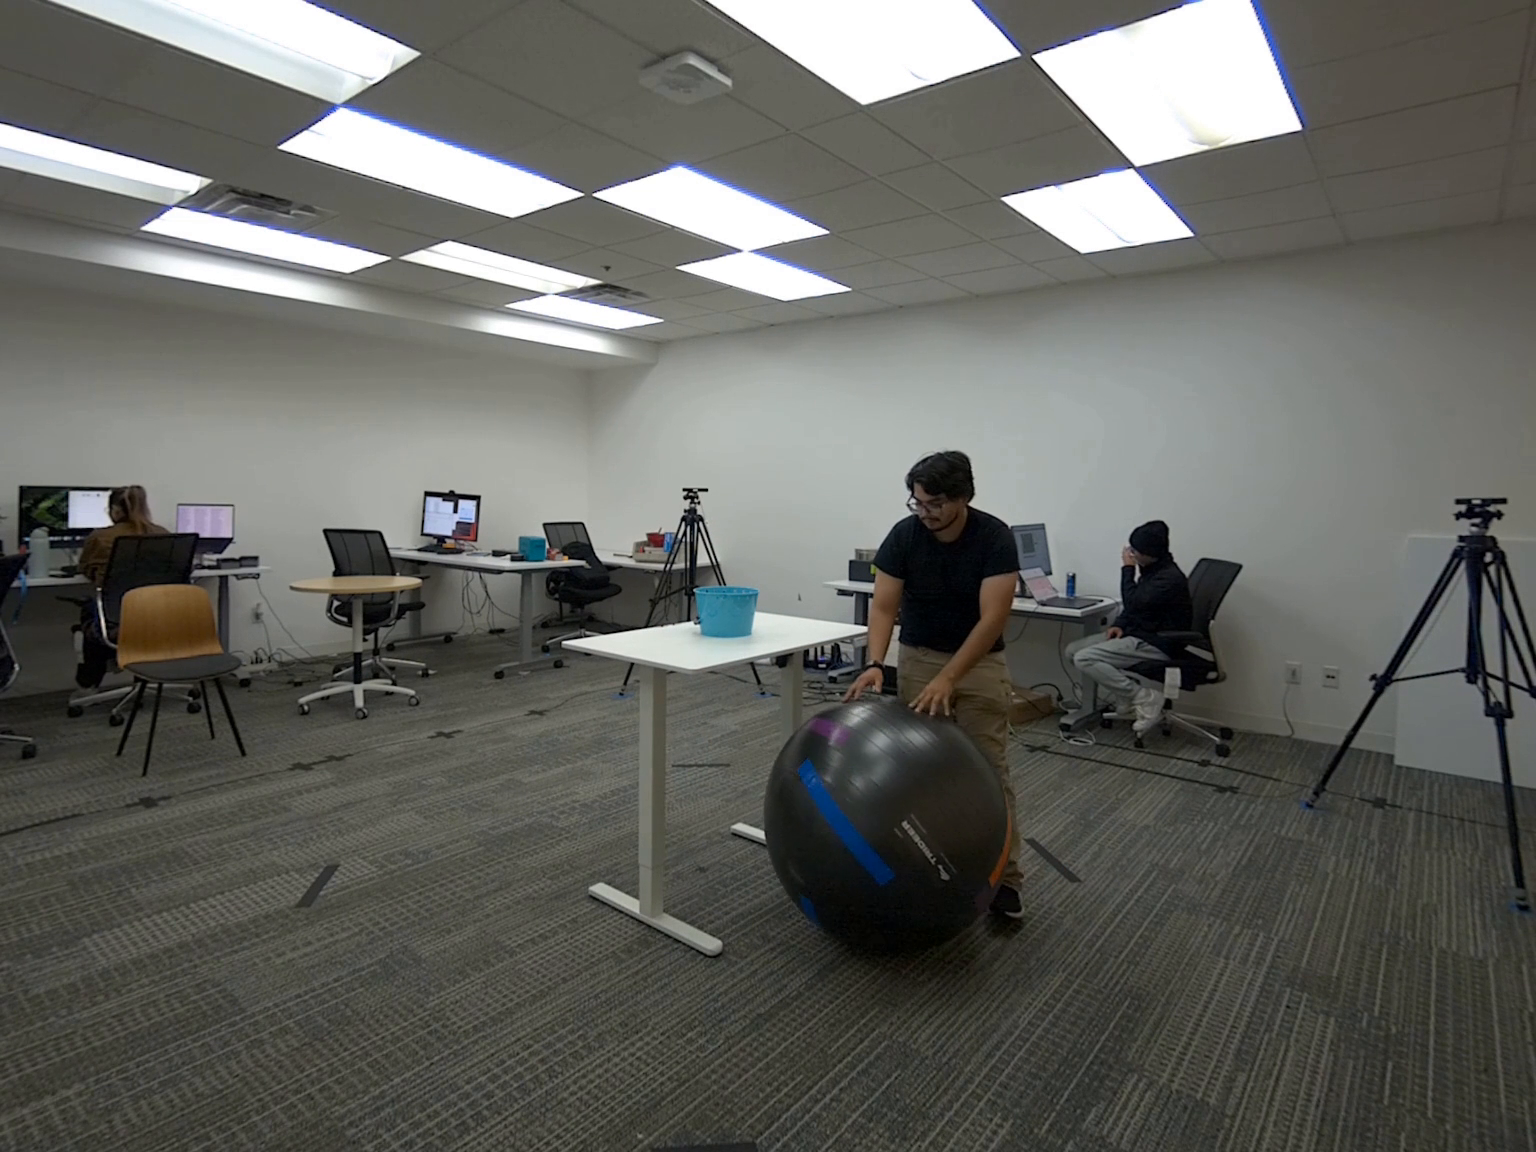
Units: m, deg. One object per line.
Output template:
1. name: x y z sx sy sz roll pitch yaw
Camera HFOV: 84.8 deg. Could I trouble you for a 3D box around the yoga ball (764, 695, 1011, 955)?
1. yoga ball: 0.360 0.763 2.666 0.757 0.755 0.762 1 4 -2
